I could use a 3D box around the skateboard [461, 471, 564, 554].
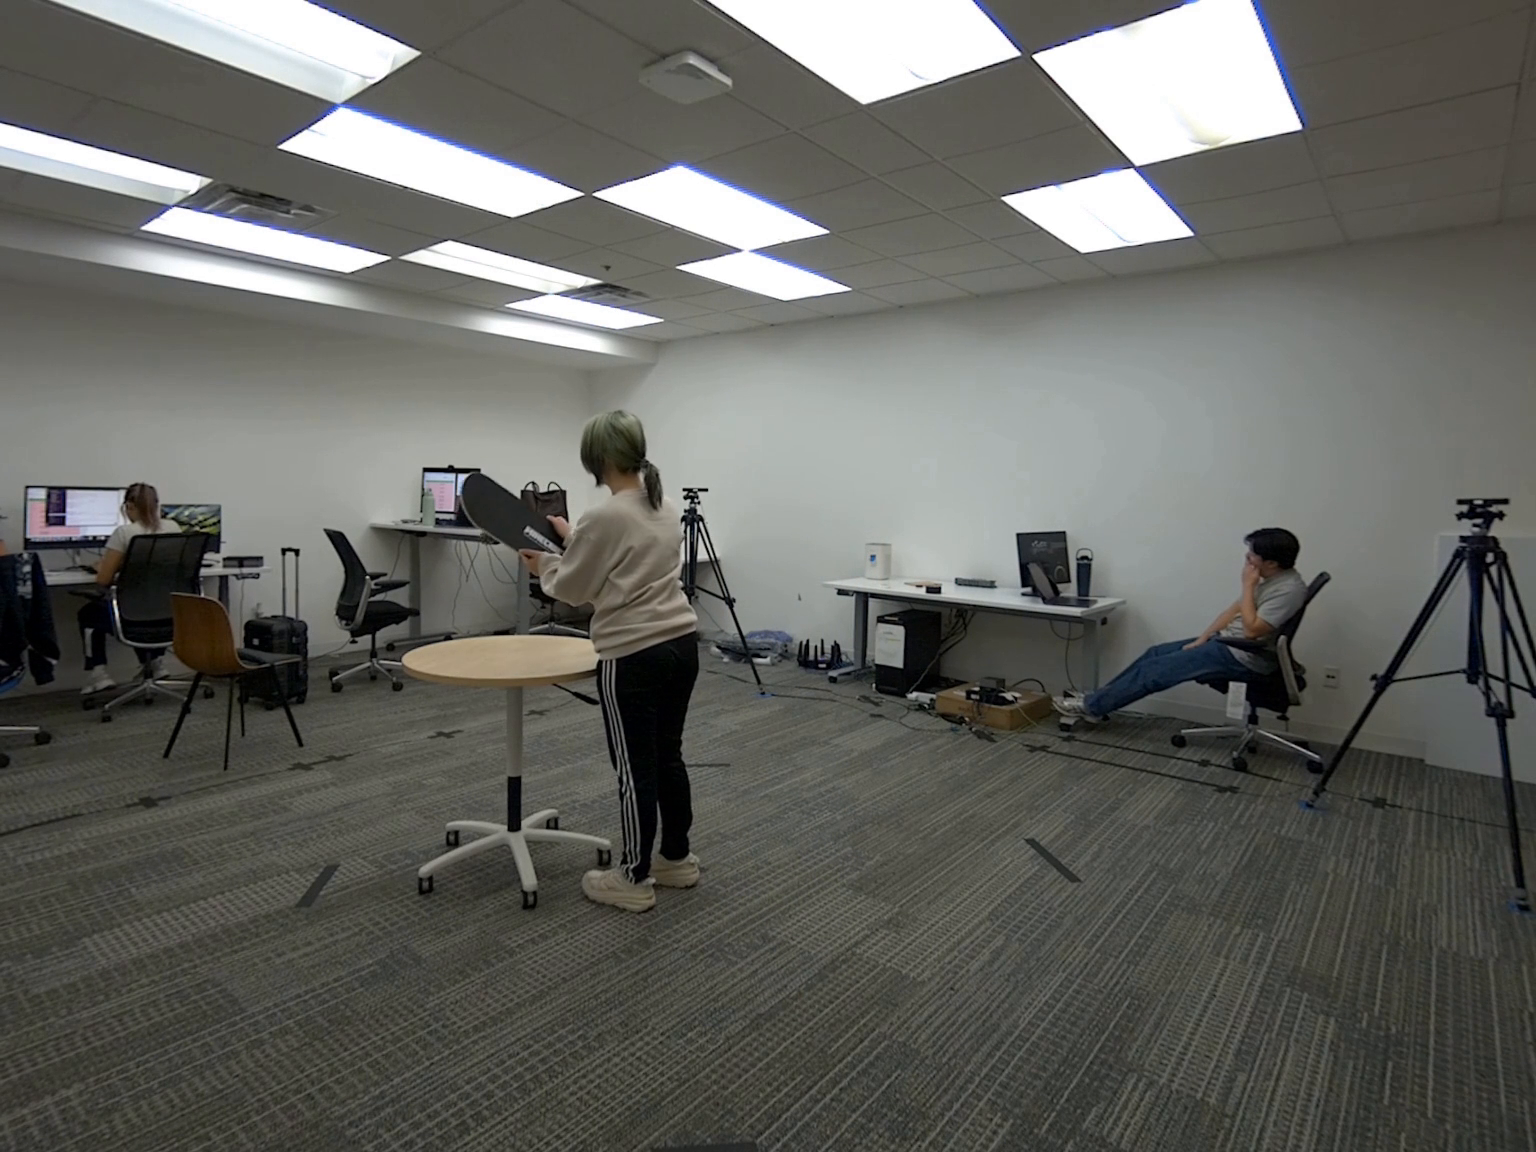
[{"bbox_3d":[-0.828,-0.105,3.056,0.112,0.198,0.753,-18,-41,32],"label":"skateboard"}]
